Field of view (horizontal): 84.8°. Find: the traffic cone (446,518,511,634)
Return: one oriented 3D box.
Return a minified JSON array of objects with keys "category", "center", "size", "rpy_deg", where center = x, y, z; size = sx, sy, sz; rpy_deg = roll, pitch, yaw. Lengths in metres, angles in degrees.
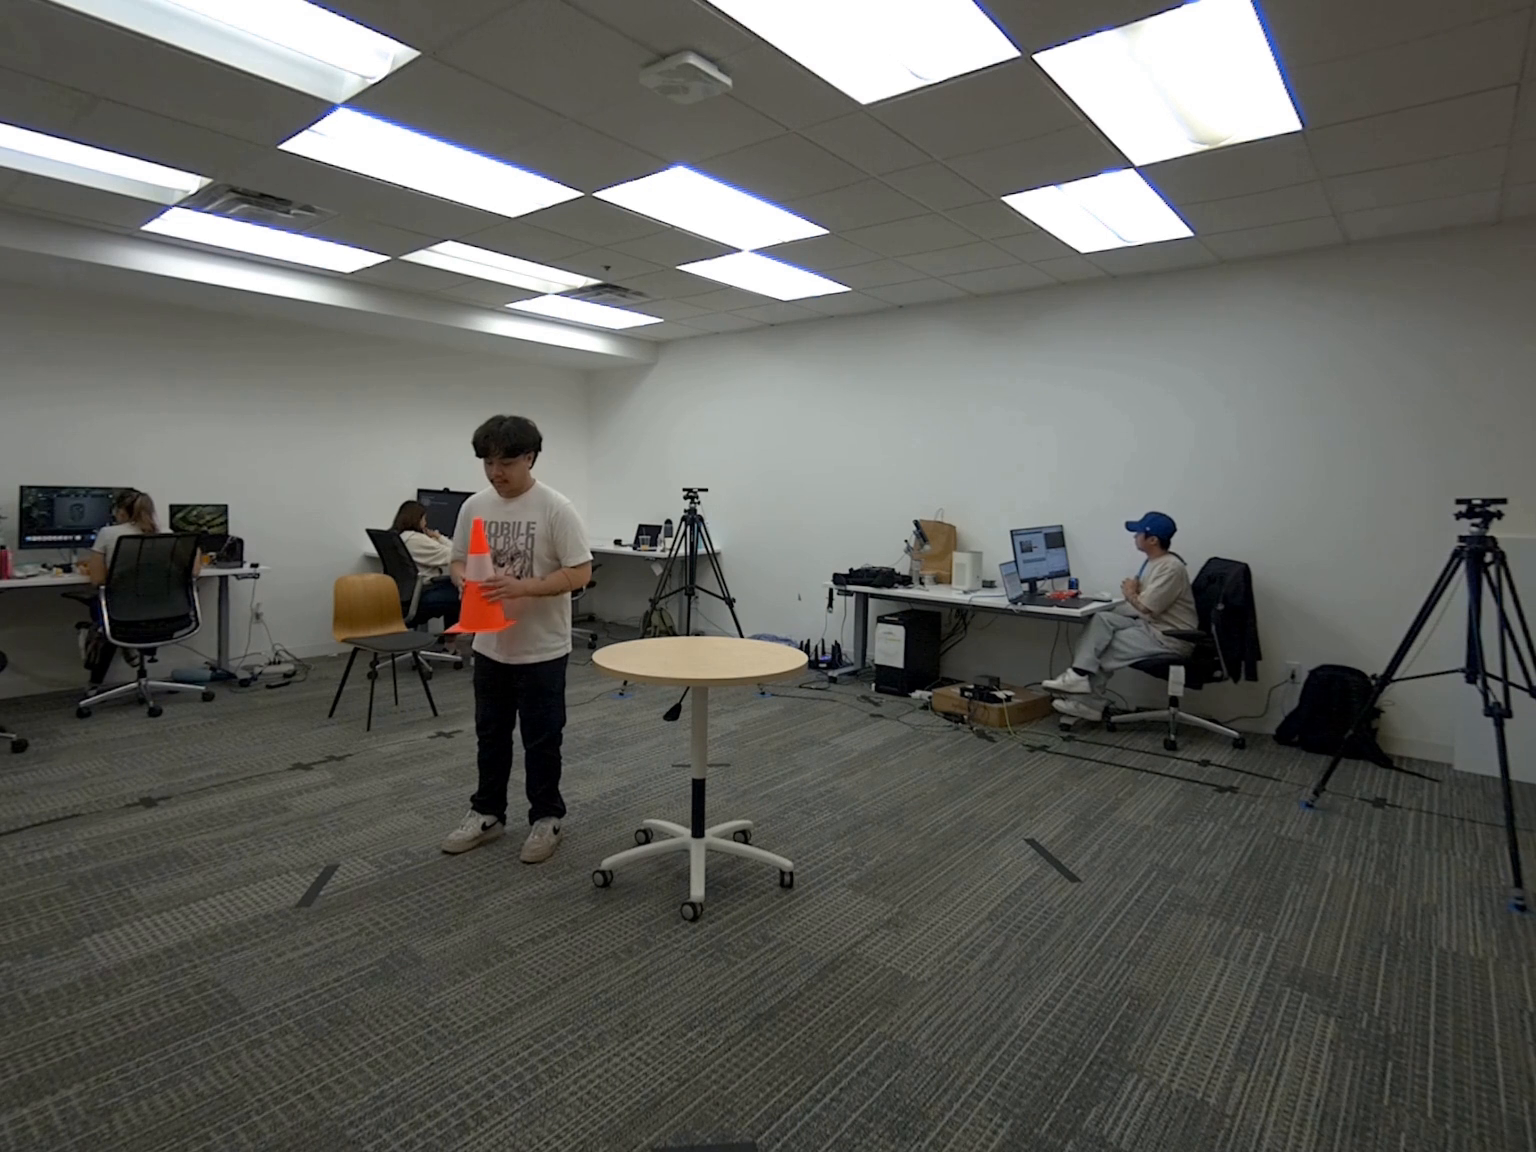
[{"category":"traffic cone","center":[-1.042,-0.010,2.968],"size":[0.207,0.380,0.203],"rpy_deg":[2,9,15]}]
